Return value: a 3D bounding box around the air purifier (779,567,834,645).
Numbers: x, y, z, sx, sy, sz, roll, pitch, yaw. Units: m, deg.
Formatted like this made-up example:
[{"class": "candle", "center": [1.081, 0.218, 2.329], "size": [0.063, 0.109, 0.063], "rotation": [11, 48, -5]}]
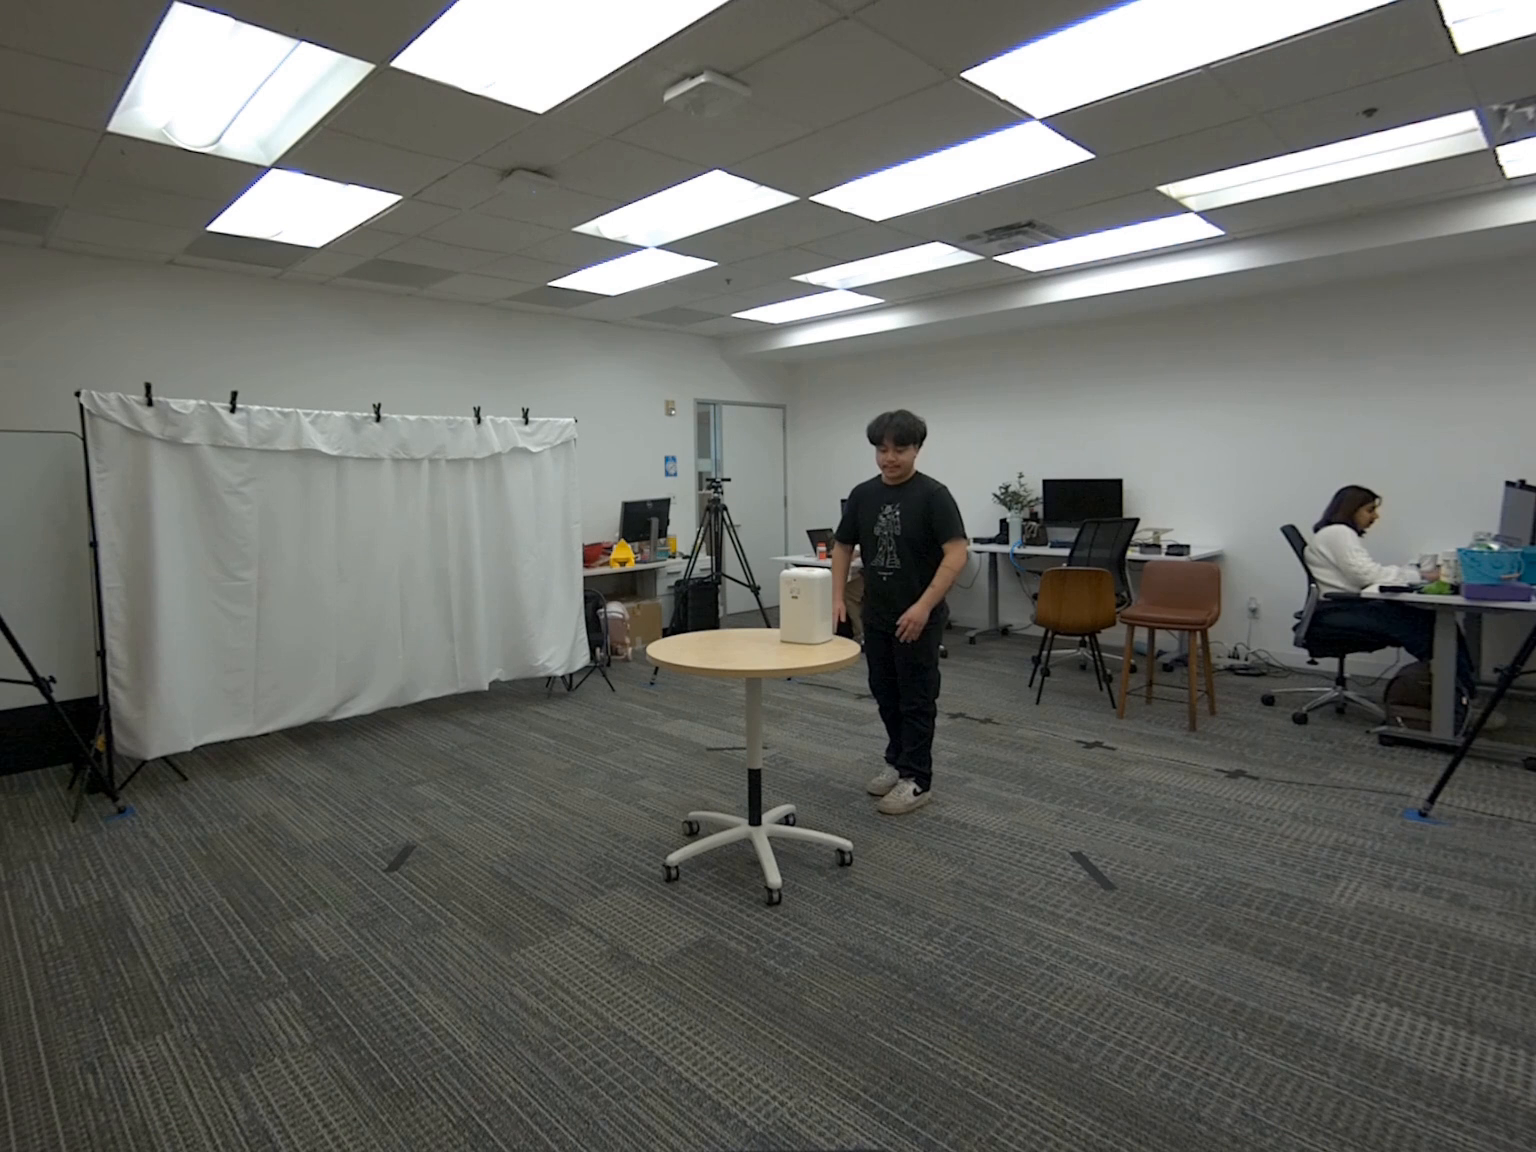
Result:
[{"class": "air purifier", "center": [0.147, 0.105, 3.172], "size": [0.176, 0.264, 0.167], "rotation": [3, 4, 32]}]
